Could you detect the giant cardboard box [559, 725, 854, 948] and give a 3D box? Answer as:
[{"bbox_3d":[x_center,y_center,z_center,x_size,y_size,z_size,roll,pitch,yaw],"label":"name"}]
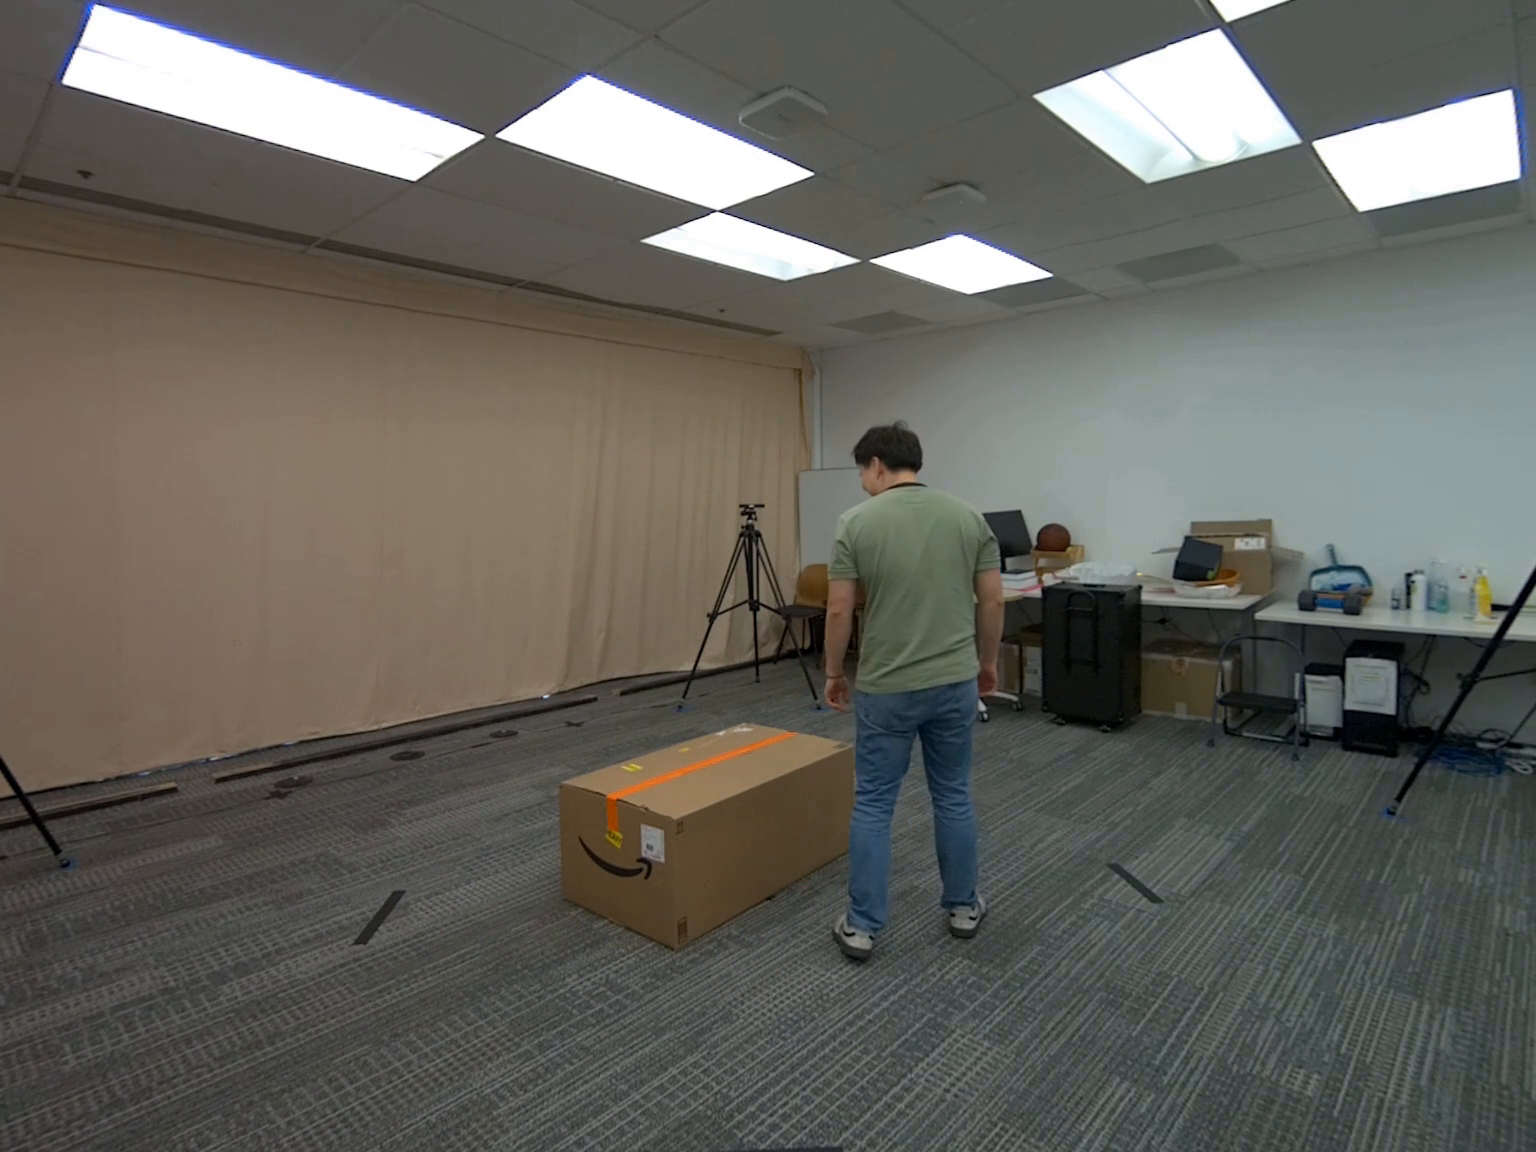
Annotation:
[{"bbox_3d":[-0.195,0.911,3.186,0.596,0.425,0.995,2,5,40],"label":"giant cardboard box"}]
